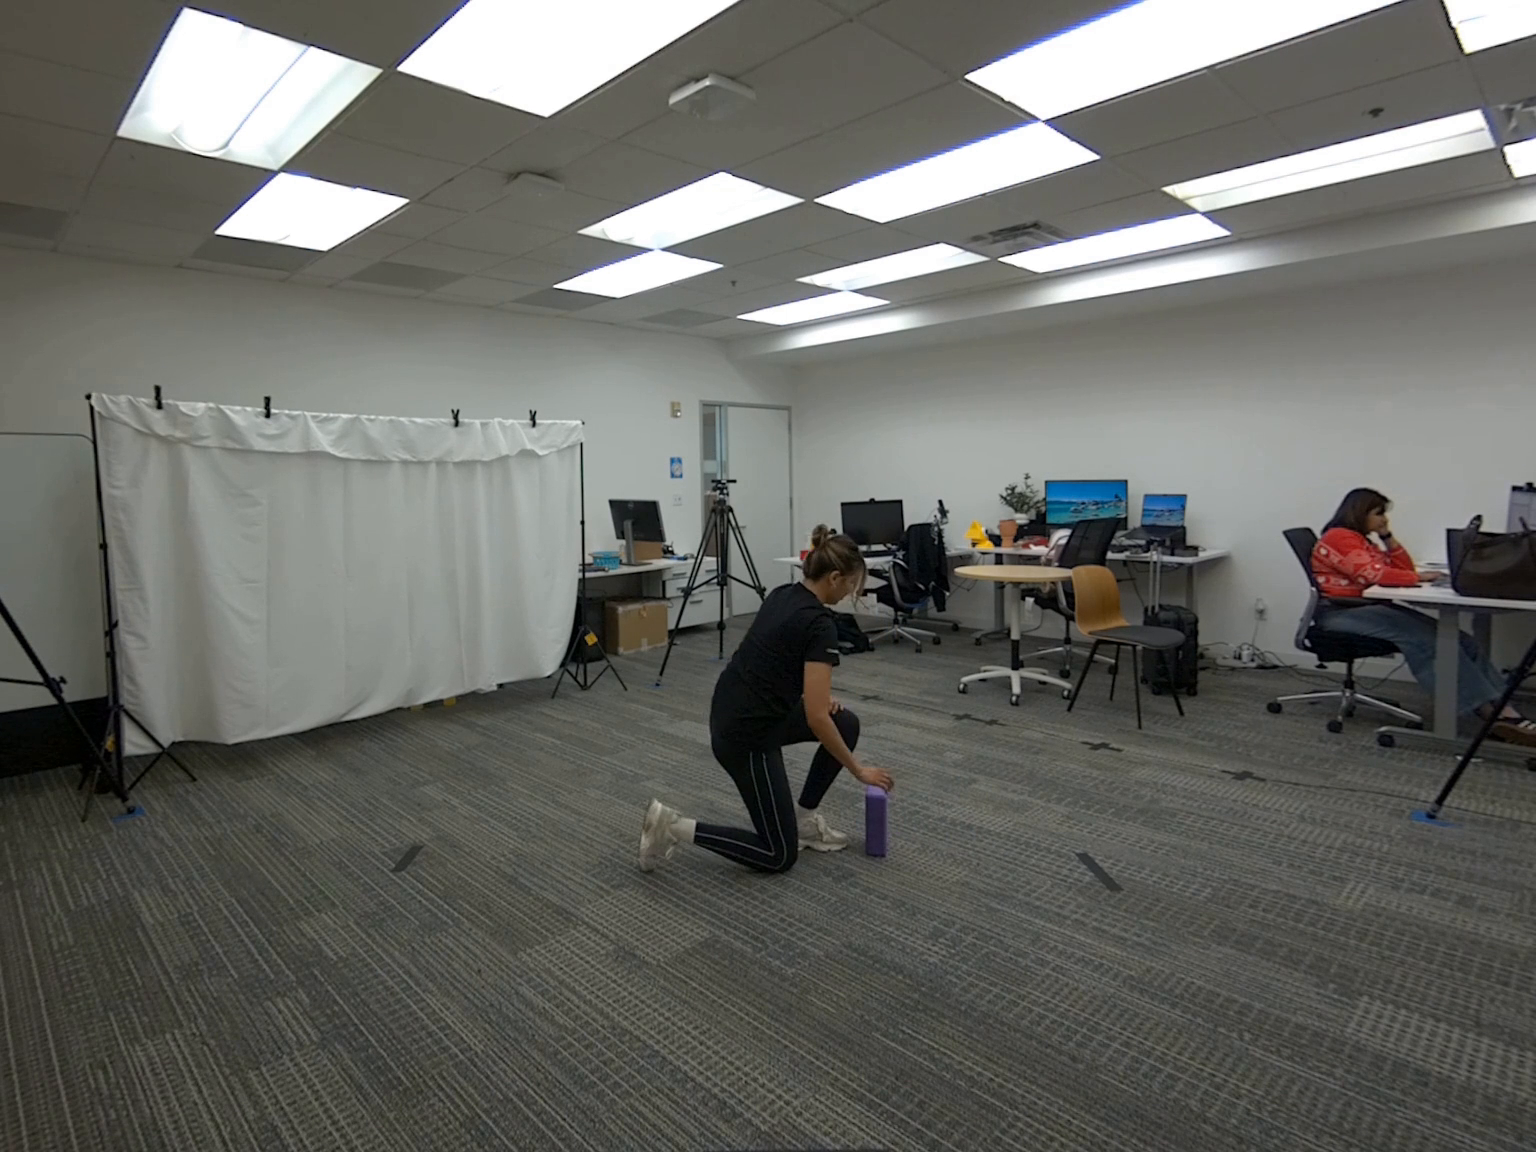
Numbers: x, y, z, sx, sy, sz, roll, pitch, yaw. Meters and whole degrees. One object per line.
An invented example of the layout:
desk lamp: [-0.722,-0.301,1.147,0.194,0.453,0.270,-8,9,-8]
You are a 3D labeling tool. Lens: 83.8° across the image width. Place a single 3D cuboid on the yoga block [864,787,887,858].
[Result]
yoga block: [0.399,0.911,3.210,0.077,0.229,0.148,0,3,8]
